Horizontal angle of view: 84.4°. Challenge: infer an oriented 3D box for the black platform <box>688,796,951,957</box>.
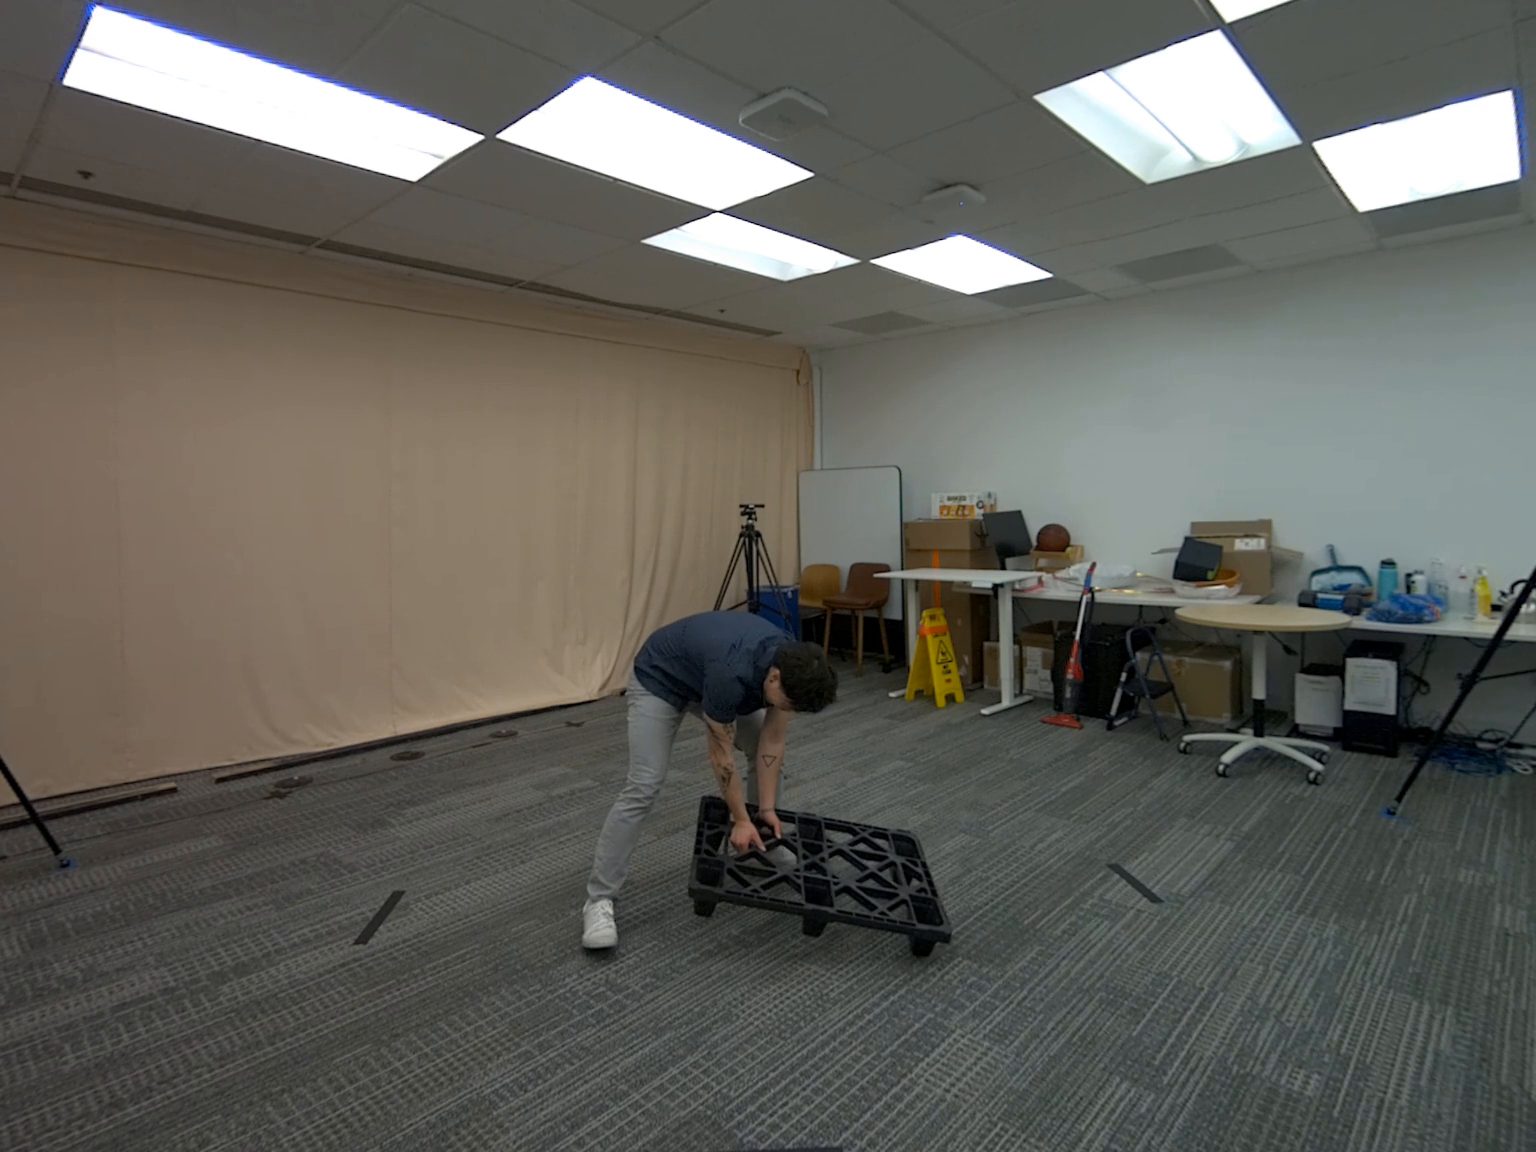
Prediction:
[{"bbox_3d":[0.144,0.993,2.806,0.806,0.143,0.608,10,11,0],"label":"black platform"}]
